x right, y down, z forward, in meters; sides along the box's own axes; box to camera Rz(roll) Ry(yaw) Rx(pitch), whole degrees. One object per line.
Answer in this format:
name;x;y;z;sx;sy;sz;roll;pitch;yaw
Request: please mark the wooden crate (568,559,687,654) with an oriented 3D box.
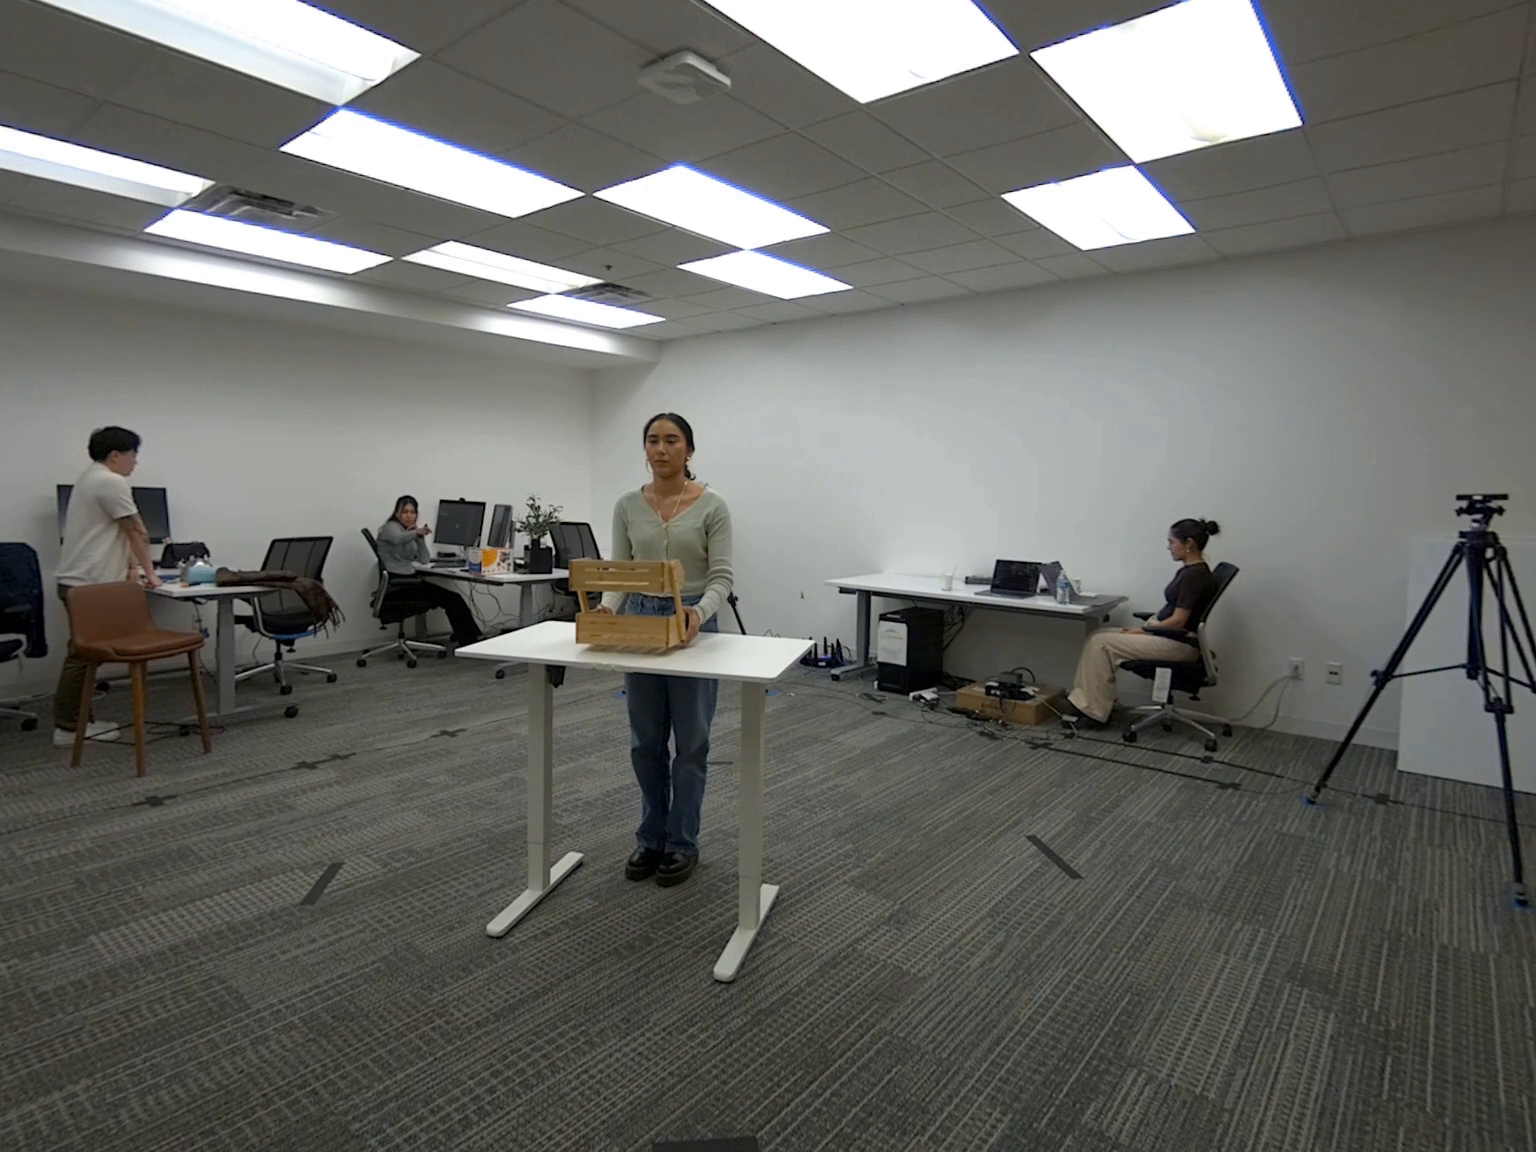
wooden crate;-0.441;0.070;2.668;0.329;0.273;0.298;1;2;12
